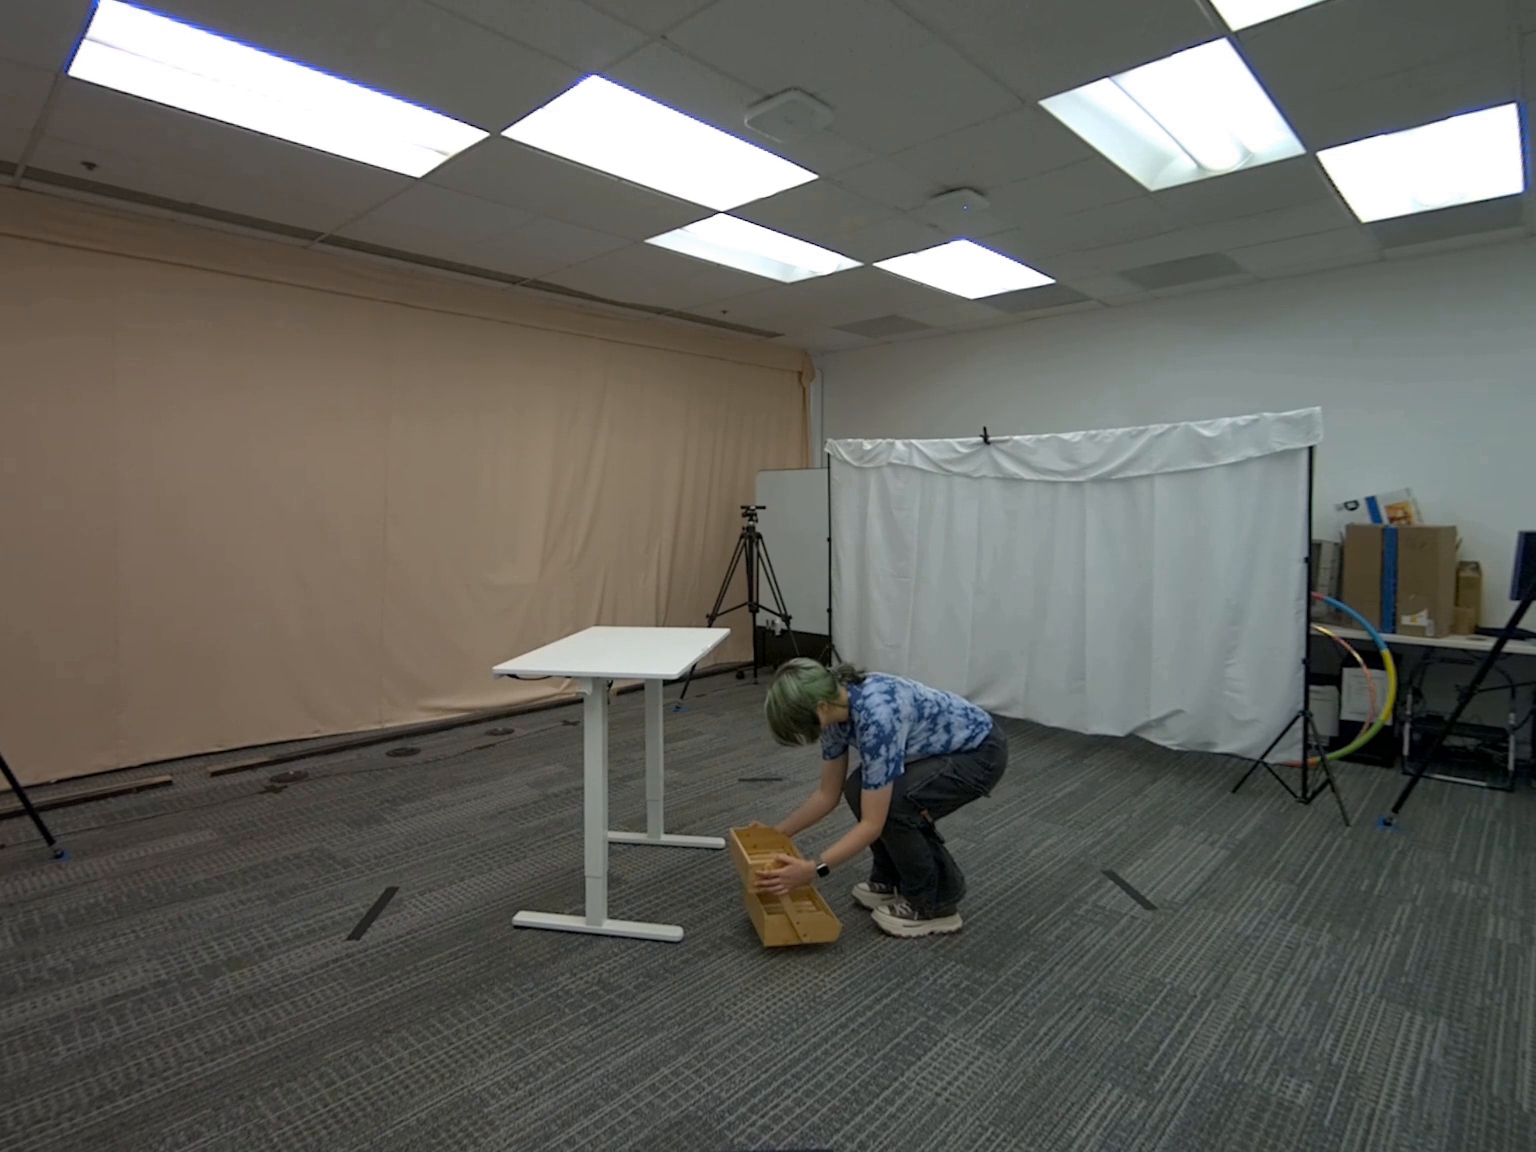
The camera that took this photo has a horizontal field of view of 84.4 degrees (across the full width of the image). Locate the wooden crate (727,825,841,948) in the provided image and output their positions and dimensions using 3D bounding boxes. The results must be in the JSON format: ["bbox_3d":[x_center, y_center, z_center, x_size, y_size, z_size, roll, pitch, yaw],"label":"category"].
[{"bbox_3d":[0.057,0.991,2.728,0.298,0.273,0.329,0,2,-13],"label":"wooden crate"}]
